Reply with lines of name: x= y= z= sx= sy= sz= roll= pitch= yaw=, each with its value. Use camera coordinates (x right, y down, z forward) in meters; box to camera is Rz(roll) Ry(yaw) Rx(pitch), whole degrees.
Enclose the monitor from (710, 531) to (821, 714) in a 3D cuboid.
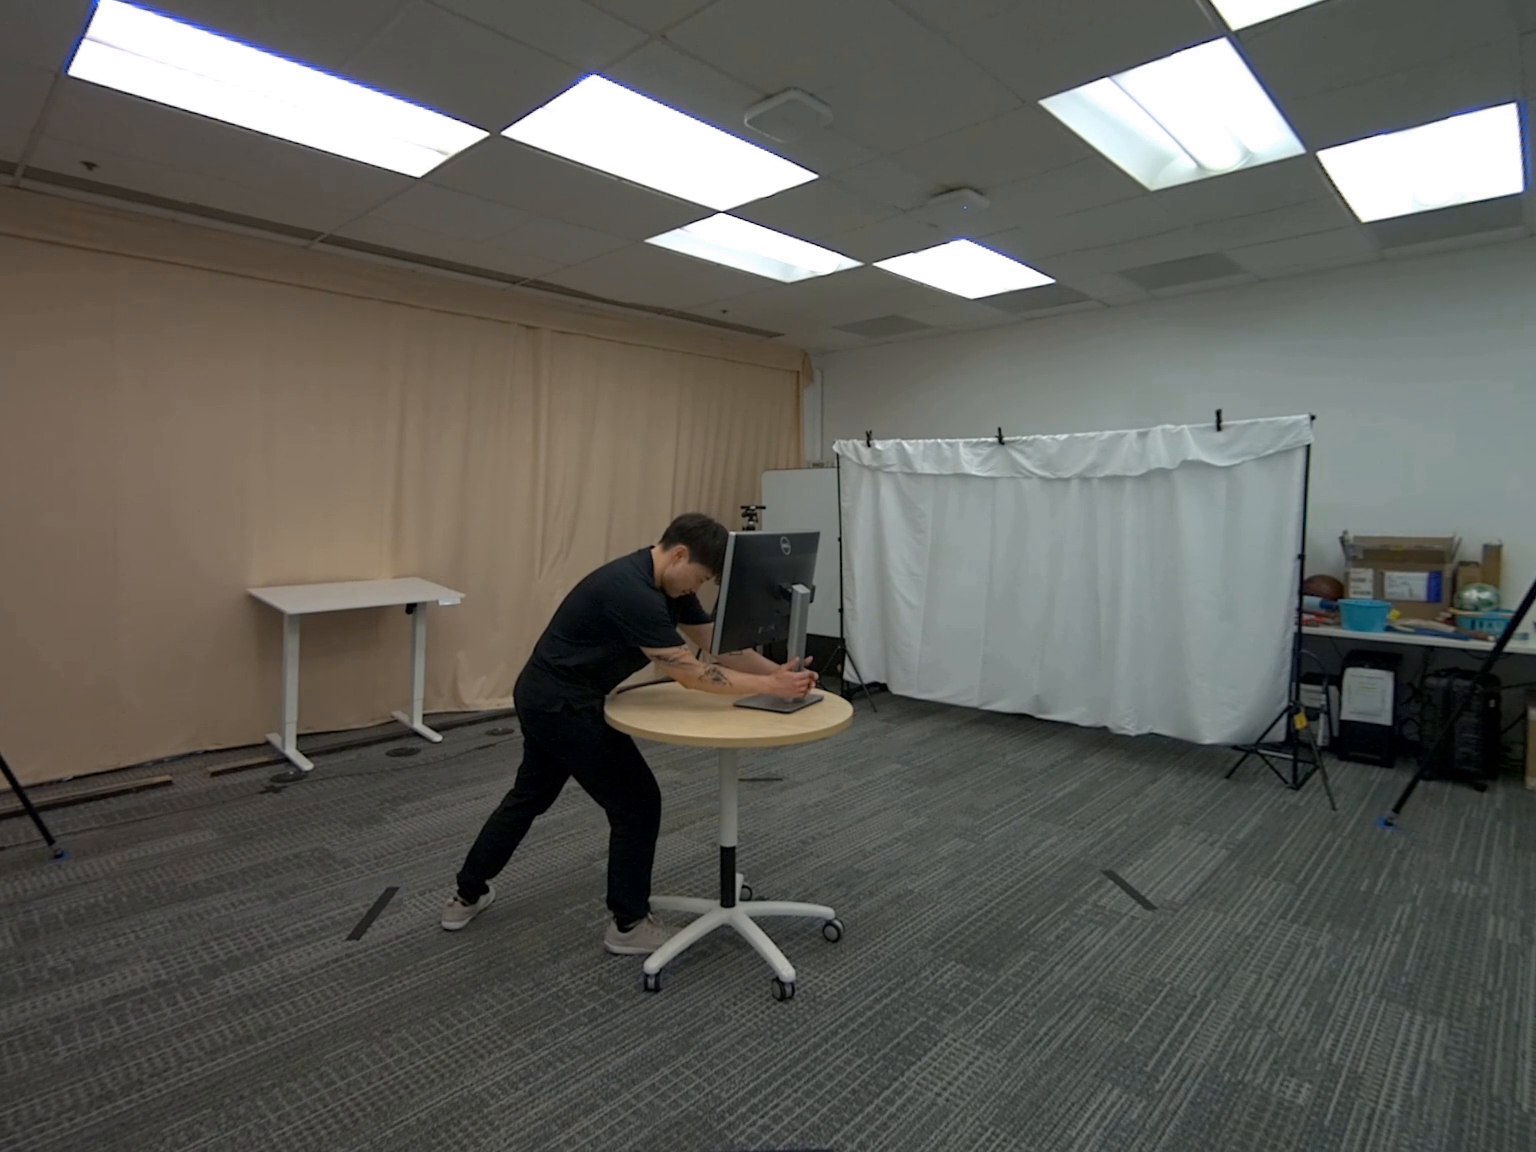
monitor: x=0.039 y=0.131 z=2.619 sx=0.192 sy=0.522 sz=0.525 roll=0 pitch=3 yaw=29
